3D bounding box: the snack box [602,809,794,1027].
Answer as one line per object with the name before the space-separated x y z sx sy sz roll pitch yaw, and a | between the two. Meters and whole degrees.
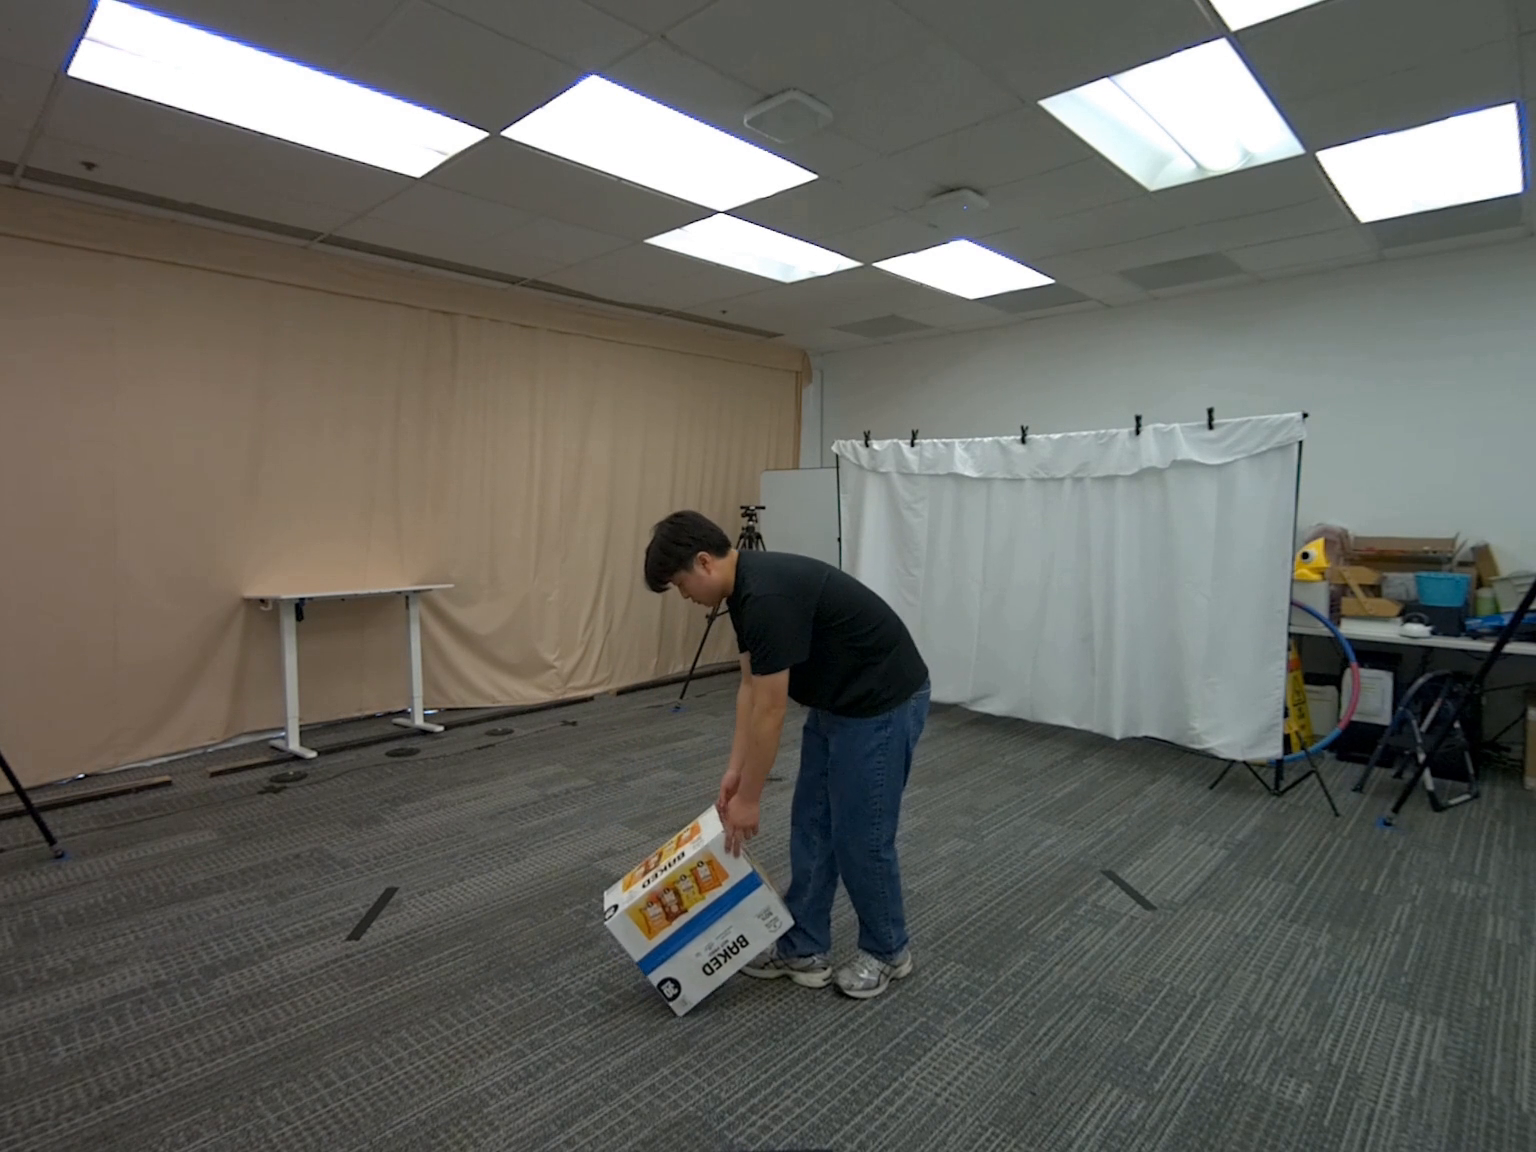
snack box | -0.196 0.947 2.377 0.404 0.337 0.208 -37 7 -3
